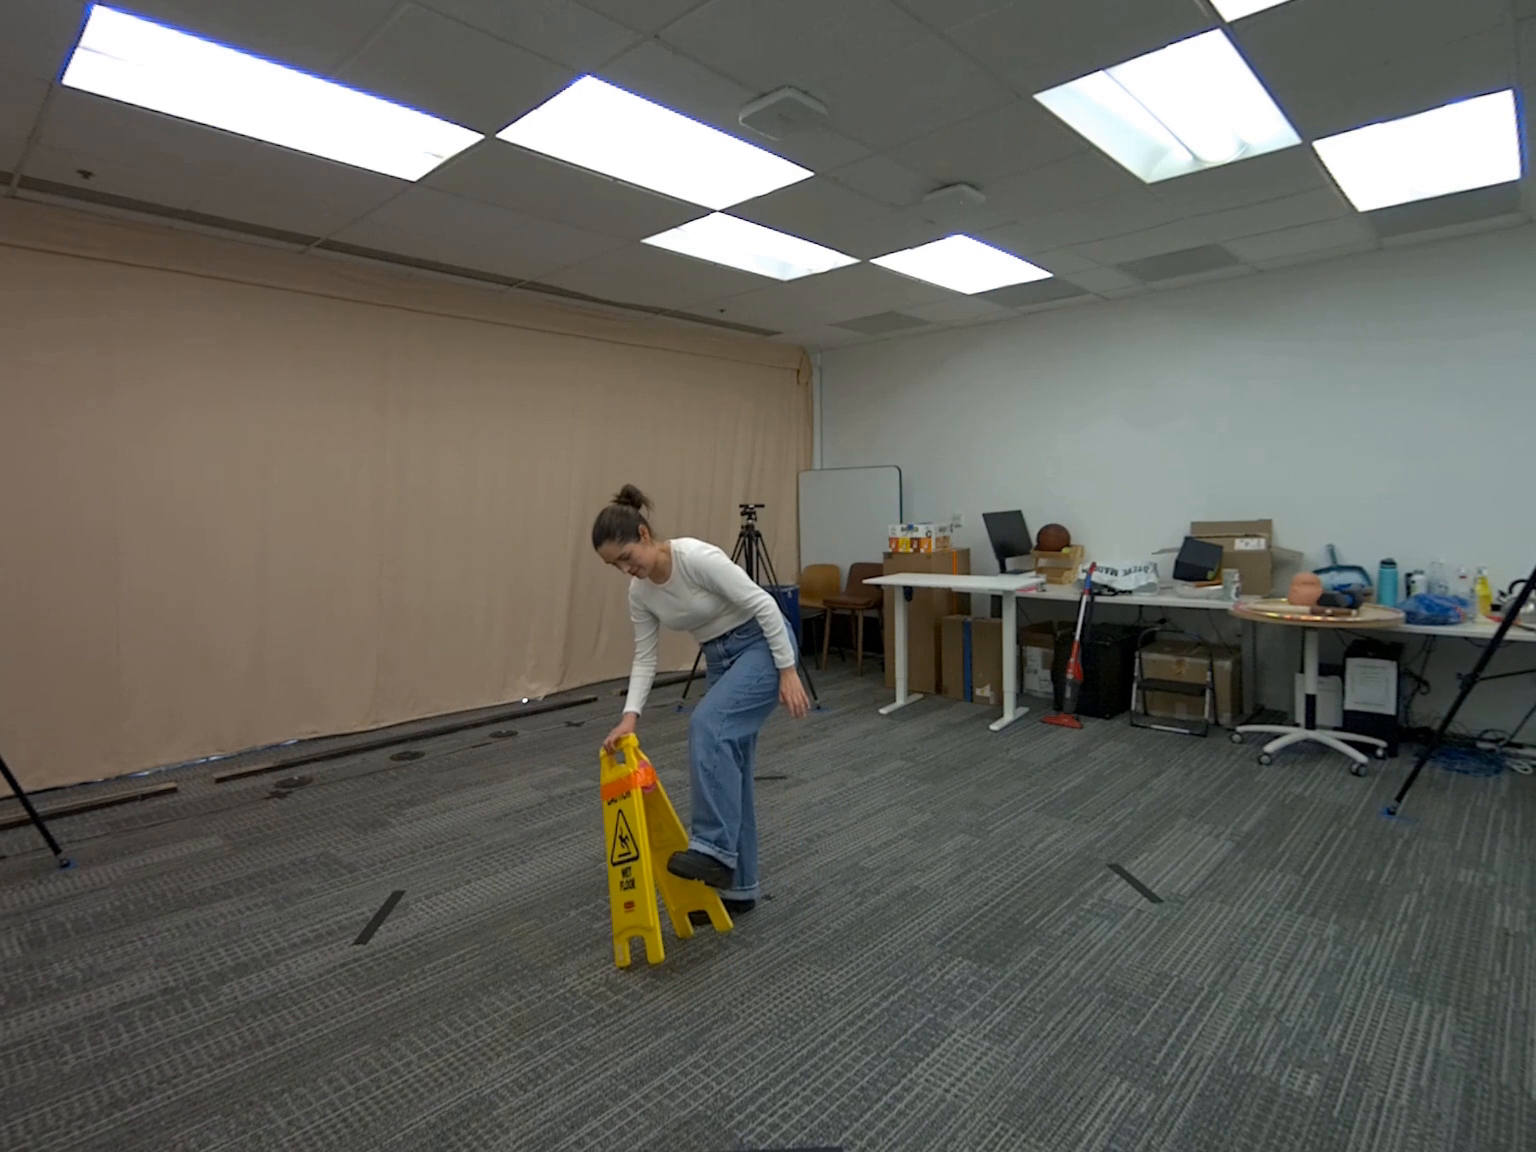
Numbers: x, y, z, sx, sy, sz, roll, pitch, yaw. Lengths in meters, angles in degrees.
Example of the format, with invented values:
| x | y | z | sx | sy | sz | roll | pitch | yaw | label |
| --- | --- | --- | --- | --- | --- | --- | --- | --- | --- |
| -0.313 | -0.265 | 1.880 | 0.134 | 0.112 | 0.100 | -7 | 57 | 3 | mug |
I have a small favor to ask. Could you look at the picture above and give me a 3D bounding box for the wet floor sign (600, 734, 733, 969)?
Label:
| x | y | z | sx | sy | sz | roll | pitch | yaw | label |
| --- | --- | --- | --- | --- | --- | --- | --- | --- | --- |
| -0.385 | 0.833 | 2.634 | 0.281 | 0.655 | 0.287 | -4 | -20 | -42 | wet floor sign |
